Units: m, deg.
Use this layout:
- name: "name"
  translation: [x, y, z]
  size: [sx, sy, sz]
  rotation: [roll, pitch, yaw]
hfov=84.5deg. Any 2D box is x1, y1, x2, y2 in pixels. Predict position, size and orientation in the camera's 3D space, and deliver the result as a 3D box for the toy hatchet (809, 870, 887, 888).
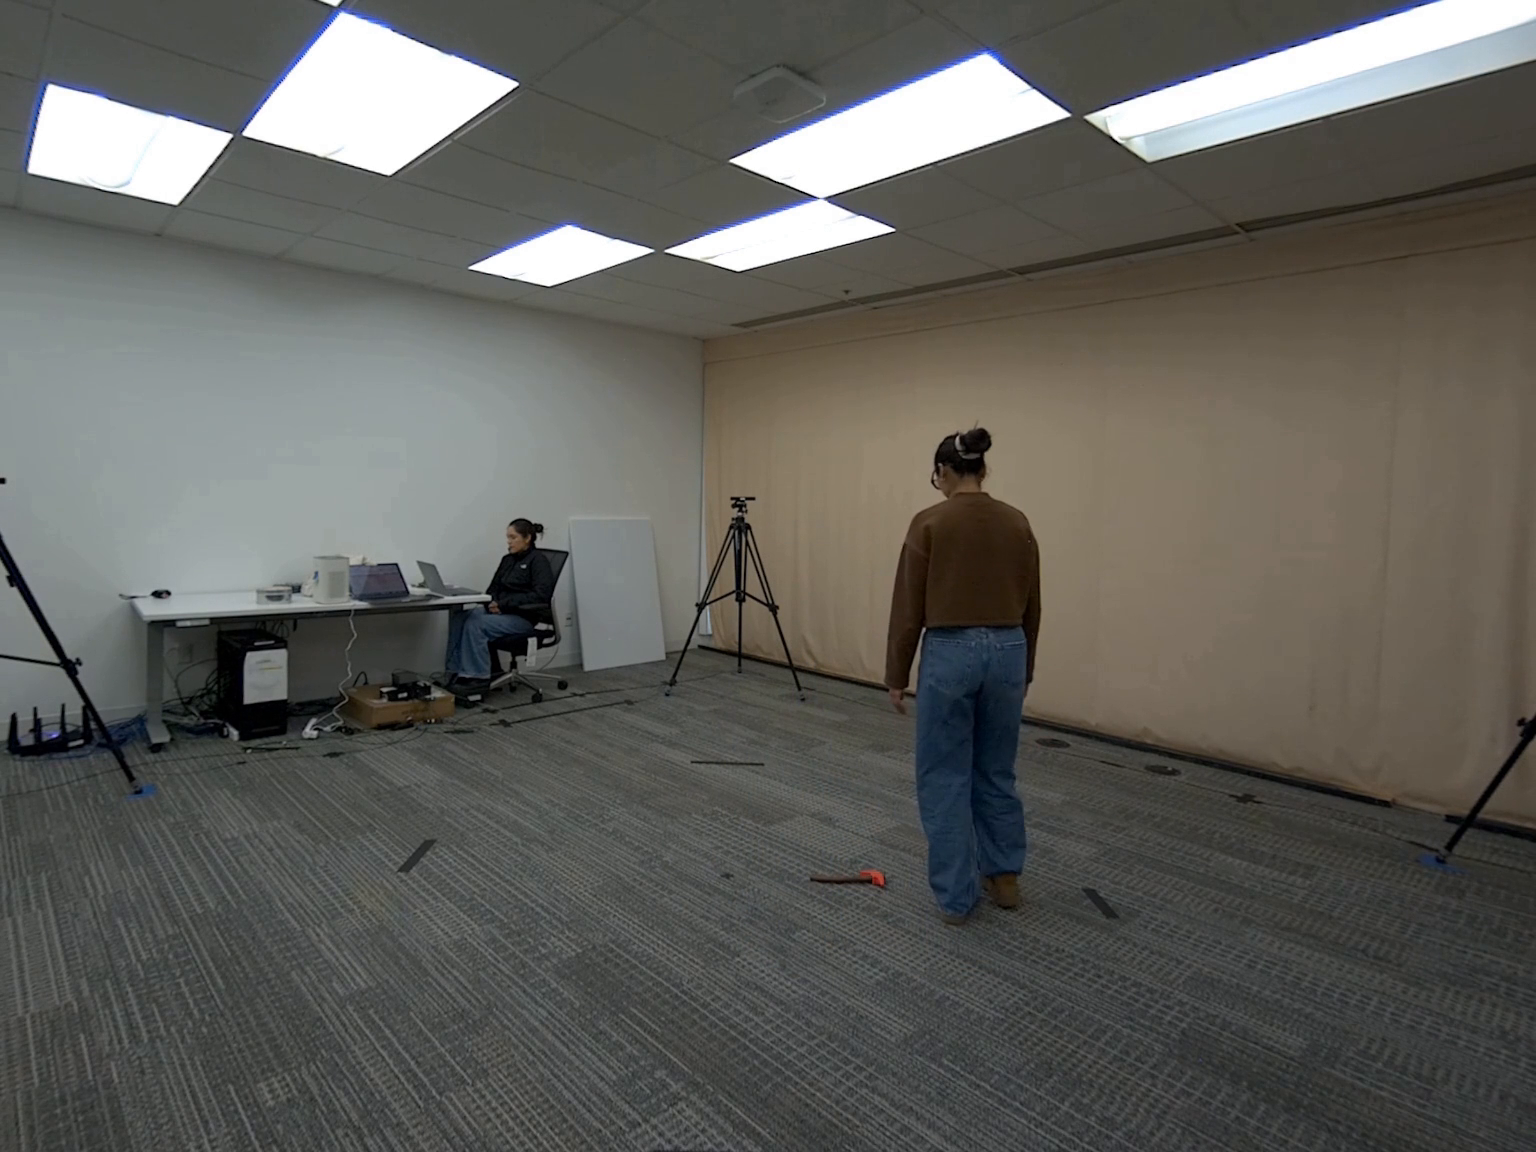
- name: "toy hatchet"
  translation: [0.292, 1.103, 3.104]
  size: [0.272, 0.029, 0.130]
  rotation: [0, 5, 11]
